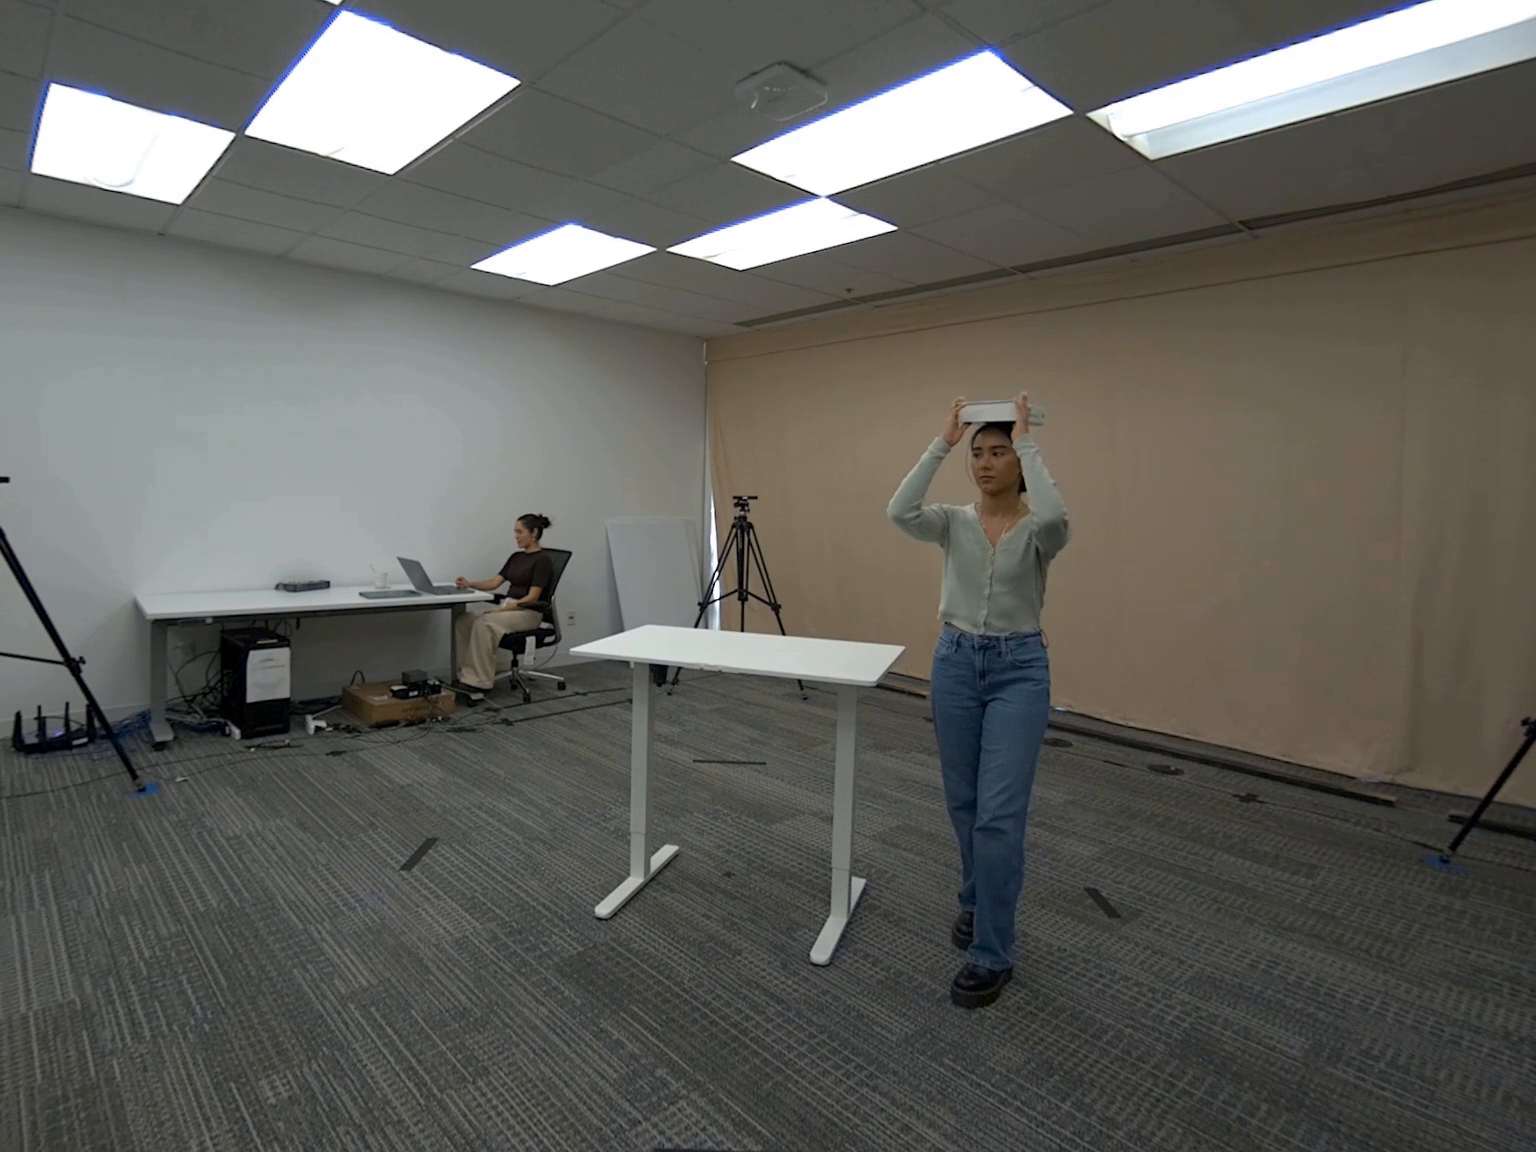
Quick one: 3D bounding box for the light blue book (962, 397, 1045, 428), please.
[{"bbox_3d":[0.712,-0.490,2.551,0.195,0.059,0.256,4,6,26],"label":"light blue book"}]
